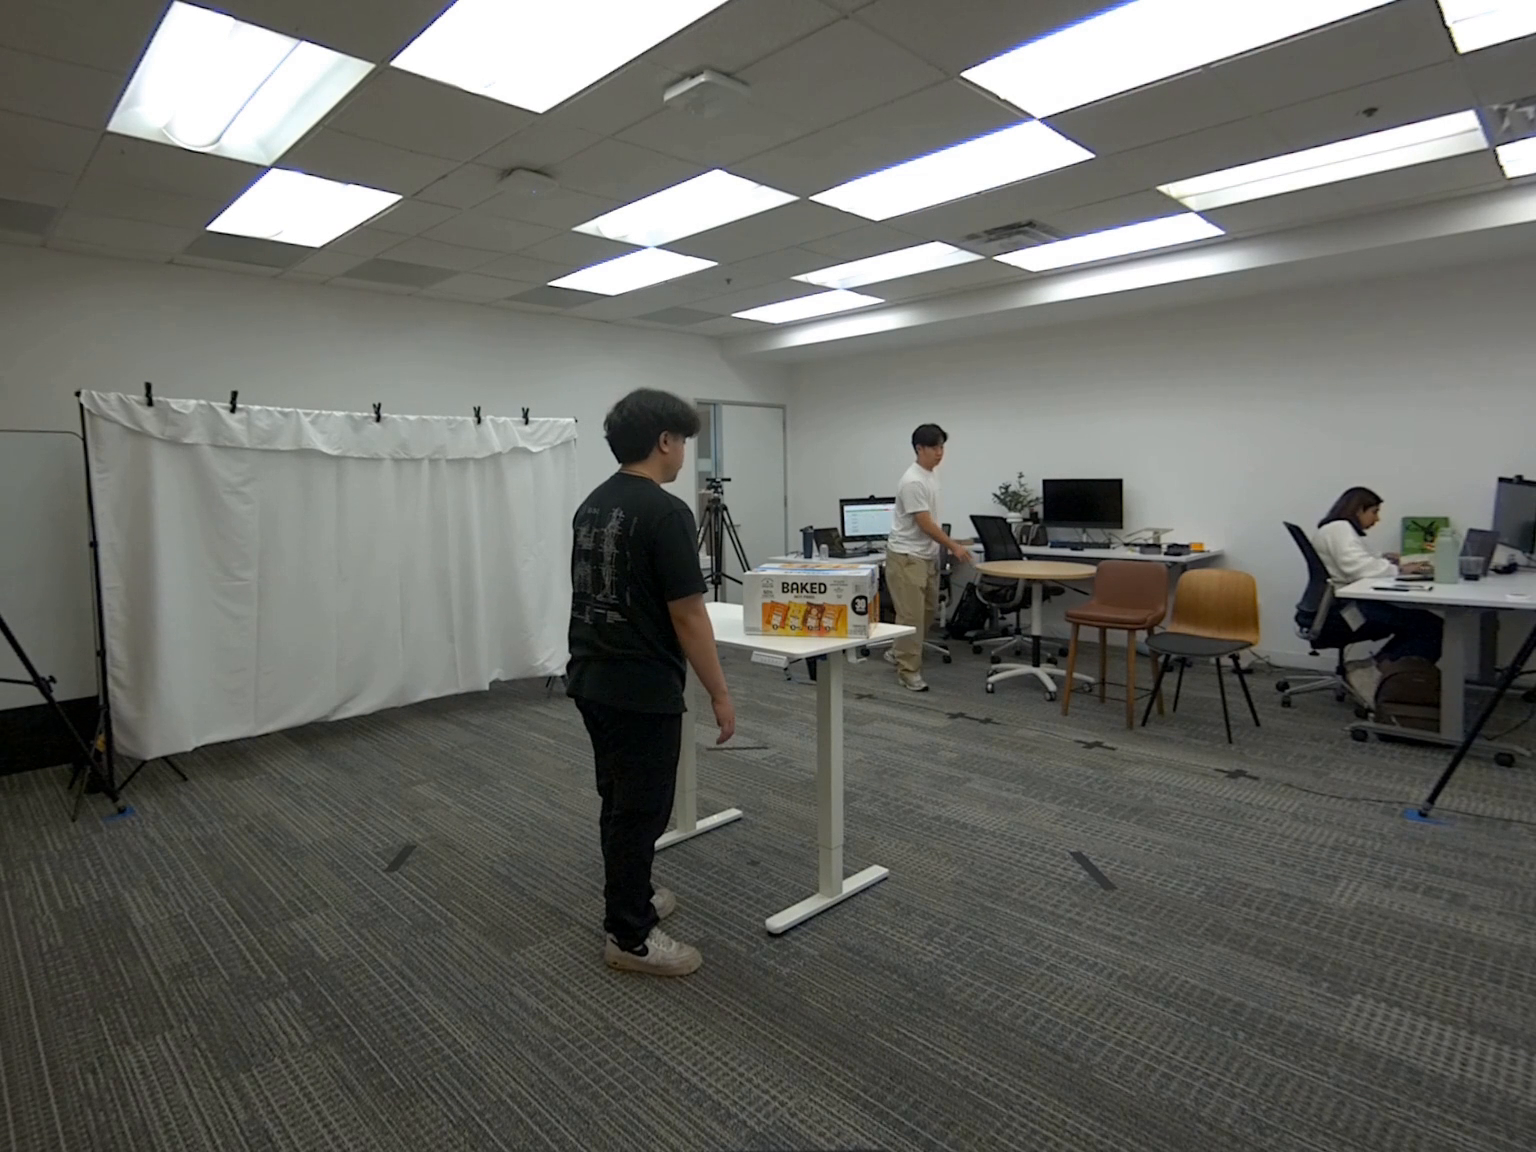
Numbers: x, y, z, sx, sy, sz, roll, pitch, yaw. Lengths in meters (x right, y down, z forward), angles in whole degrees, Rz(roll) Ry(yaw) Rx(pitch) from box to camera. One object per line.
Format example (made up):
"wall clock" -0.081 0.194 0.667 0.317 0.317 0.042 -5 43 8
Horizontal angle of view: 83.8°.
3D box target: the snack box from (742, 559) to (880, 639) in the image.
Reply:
"snack box" 0.155 0.075 2.883 0.411 0.205 0.337 0 5 15
